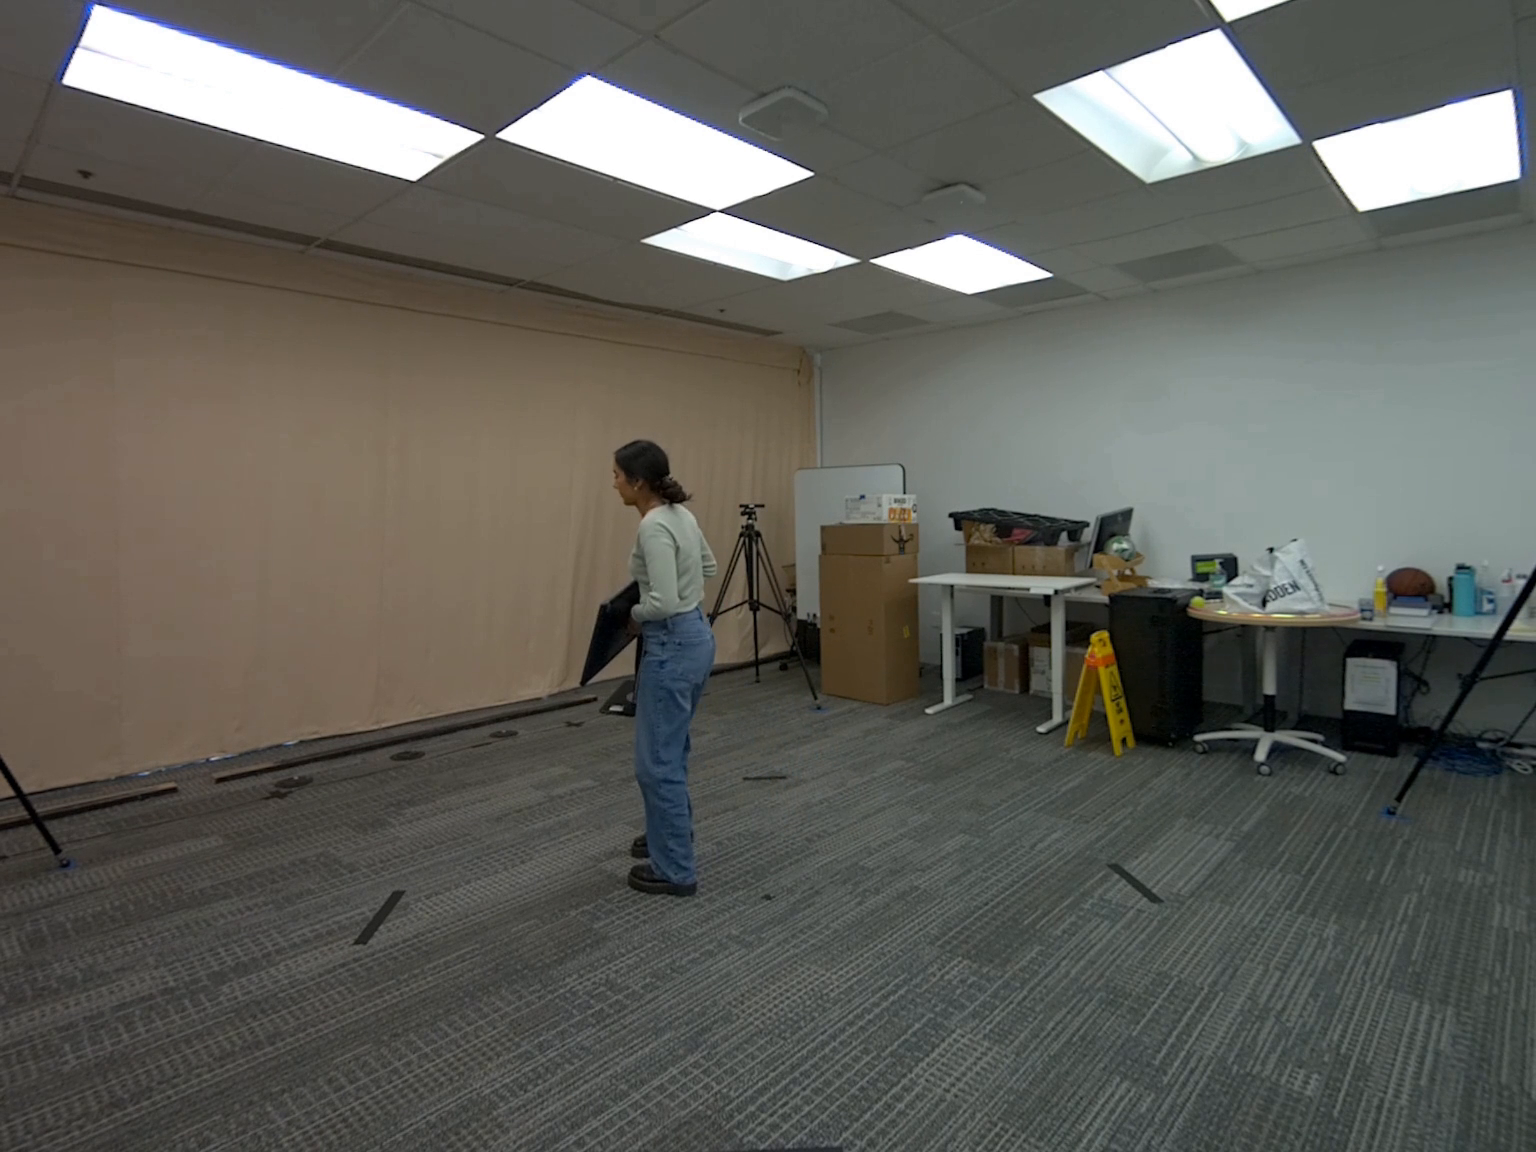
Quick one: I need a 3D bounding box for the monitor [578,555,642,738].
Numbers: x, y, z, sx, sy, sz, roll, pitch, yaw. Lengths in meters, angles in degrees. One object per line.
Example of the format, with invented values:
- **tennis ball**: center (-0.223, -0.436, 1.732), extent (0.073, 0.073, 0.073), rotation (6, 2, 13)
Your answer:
- **monitor**: center (-0.530, 0.247, 3.244), extent (0.177, 0.510, 0.528), rotation (4, 18, 10)
